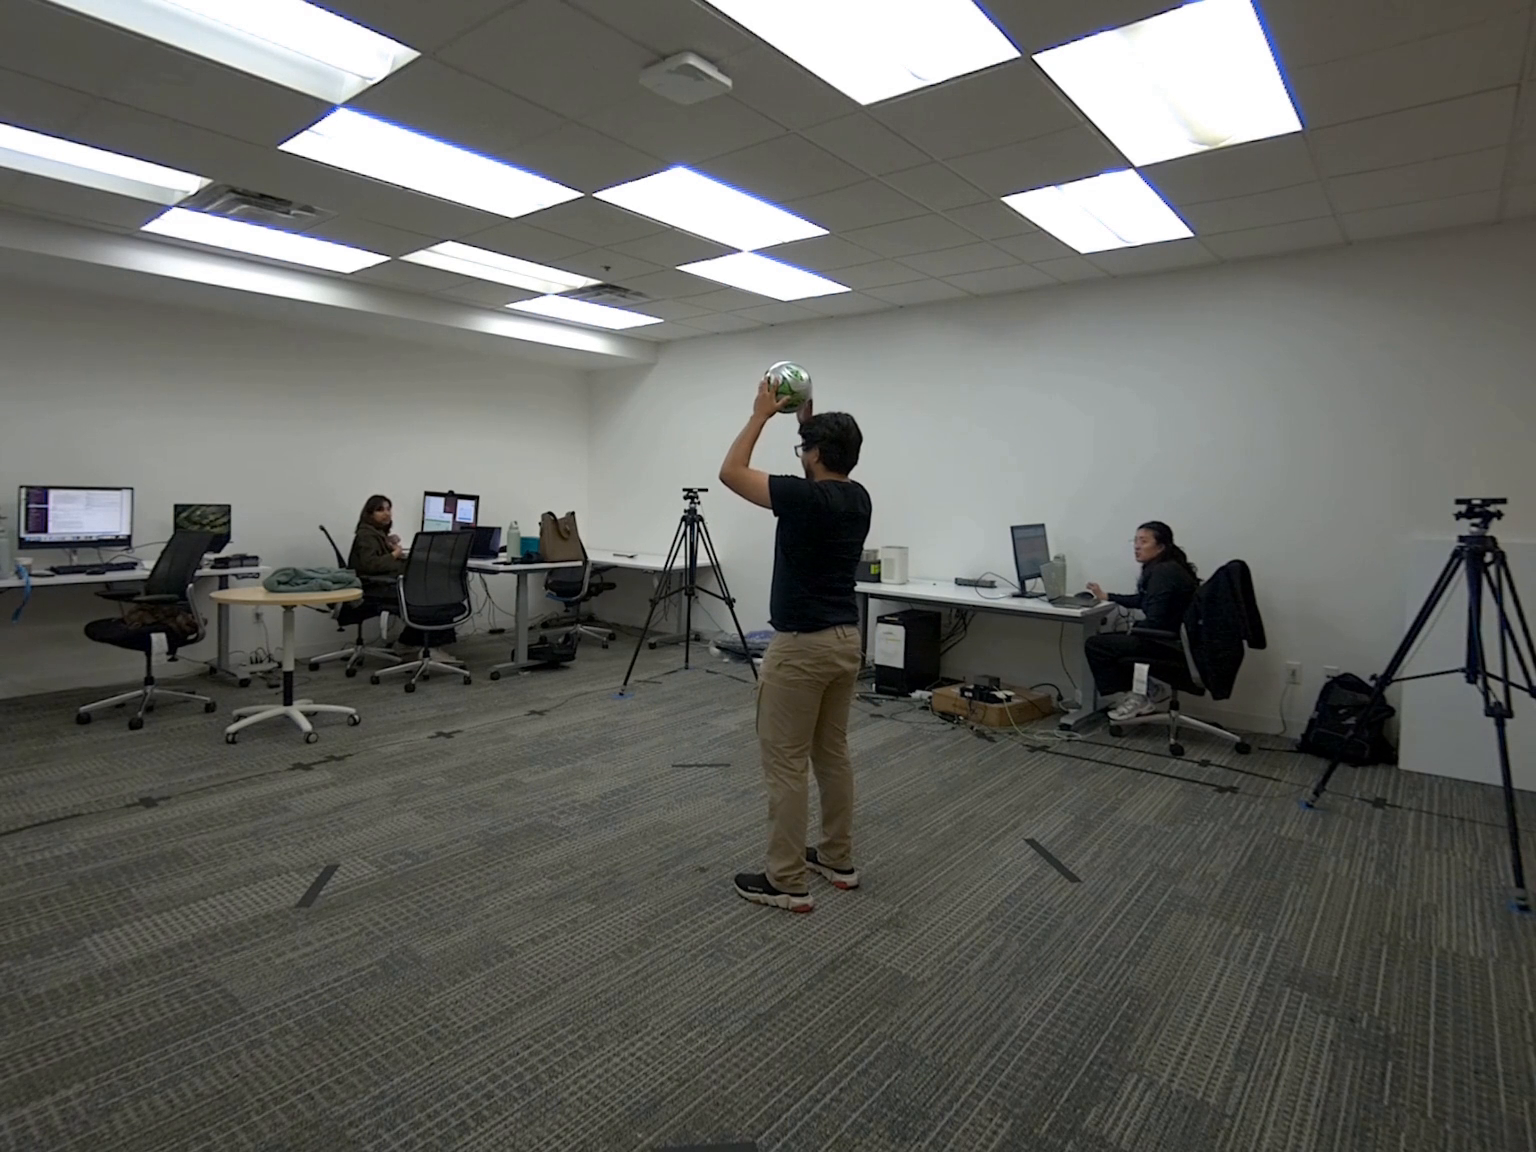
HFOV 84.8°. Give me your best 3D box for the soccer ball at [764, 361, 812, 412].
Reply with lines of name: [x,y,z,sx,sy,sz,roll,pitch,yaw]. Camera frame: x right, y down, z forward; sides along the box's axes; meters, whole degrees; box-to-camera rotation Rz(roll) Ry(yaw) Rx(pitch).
soccer ball: [0.058,-0.684,3.084,0.187,0.187,0.188,1,4,-2]
